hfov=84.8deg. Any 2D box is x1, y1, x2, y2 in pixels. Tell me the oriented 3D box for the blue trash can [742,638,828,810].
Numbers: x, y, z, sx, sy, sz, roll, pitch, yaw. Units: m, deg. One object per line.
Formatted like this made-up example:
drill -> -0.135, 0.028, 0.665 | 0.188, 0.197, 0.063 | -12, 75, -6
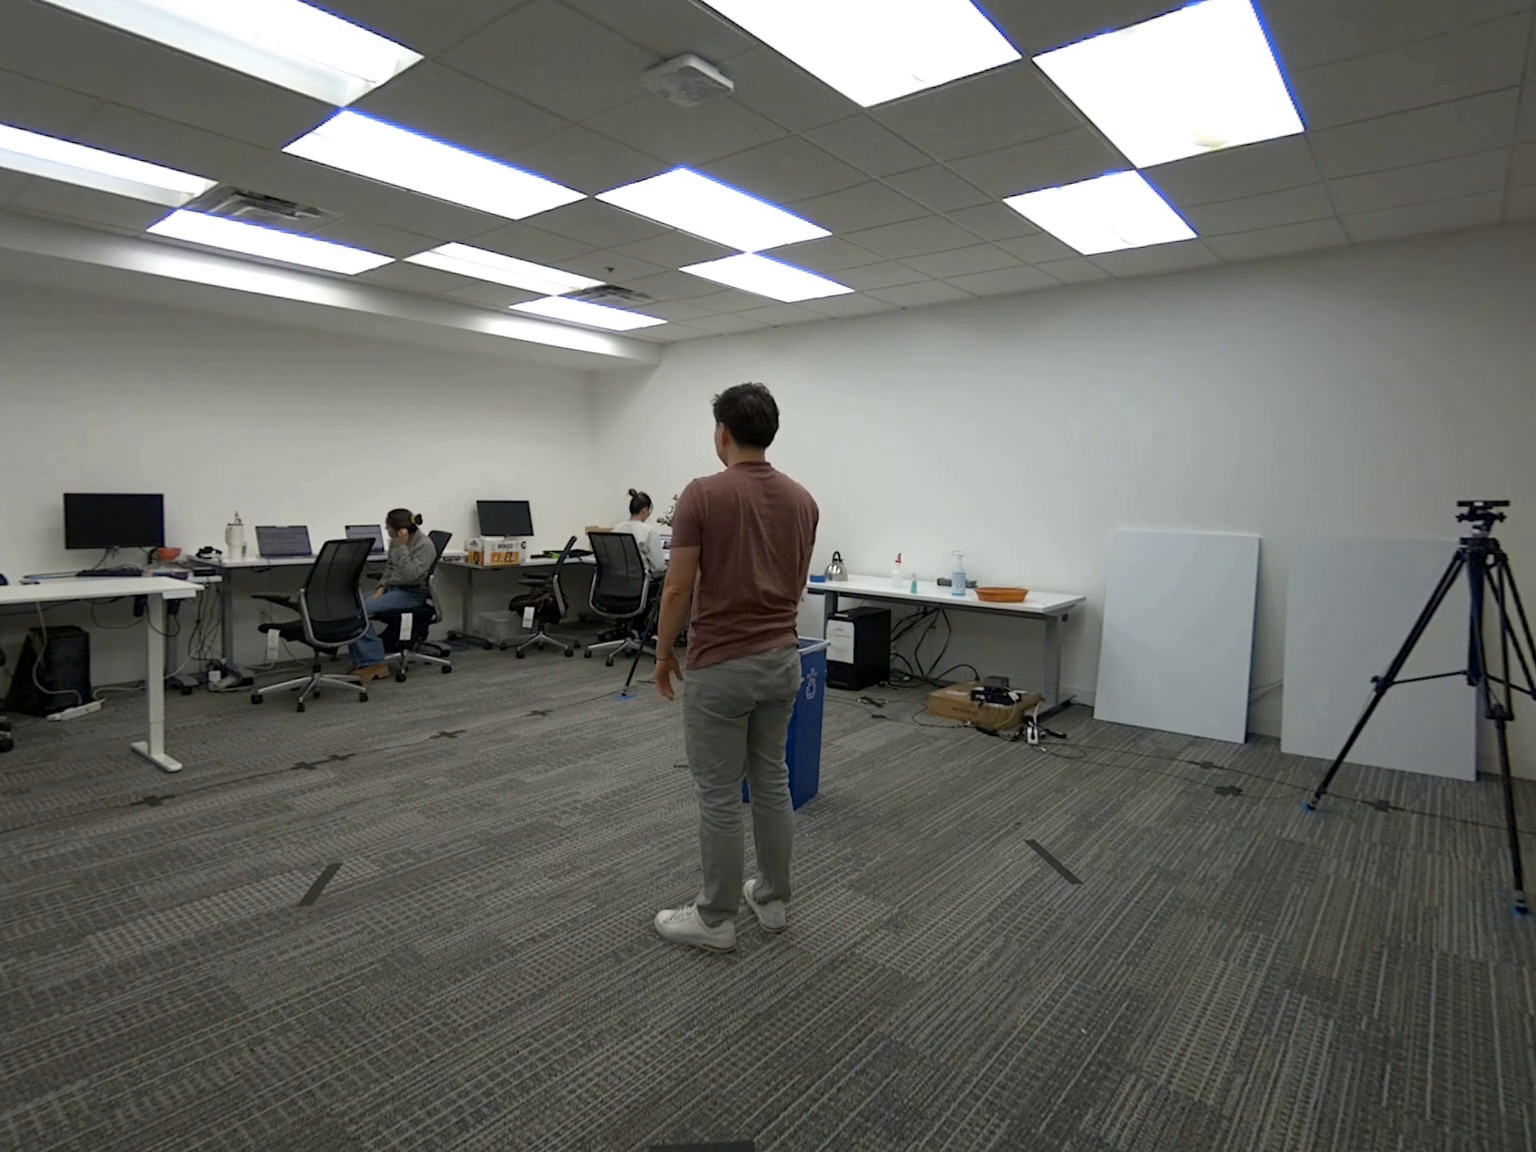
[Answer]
blue trash can -> 0.035, 0.647, 3.888 | 0.389, 0.712, 0.364 | 3, 3, 29
